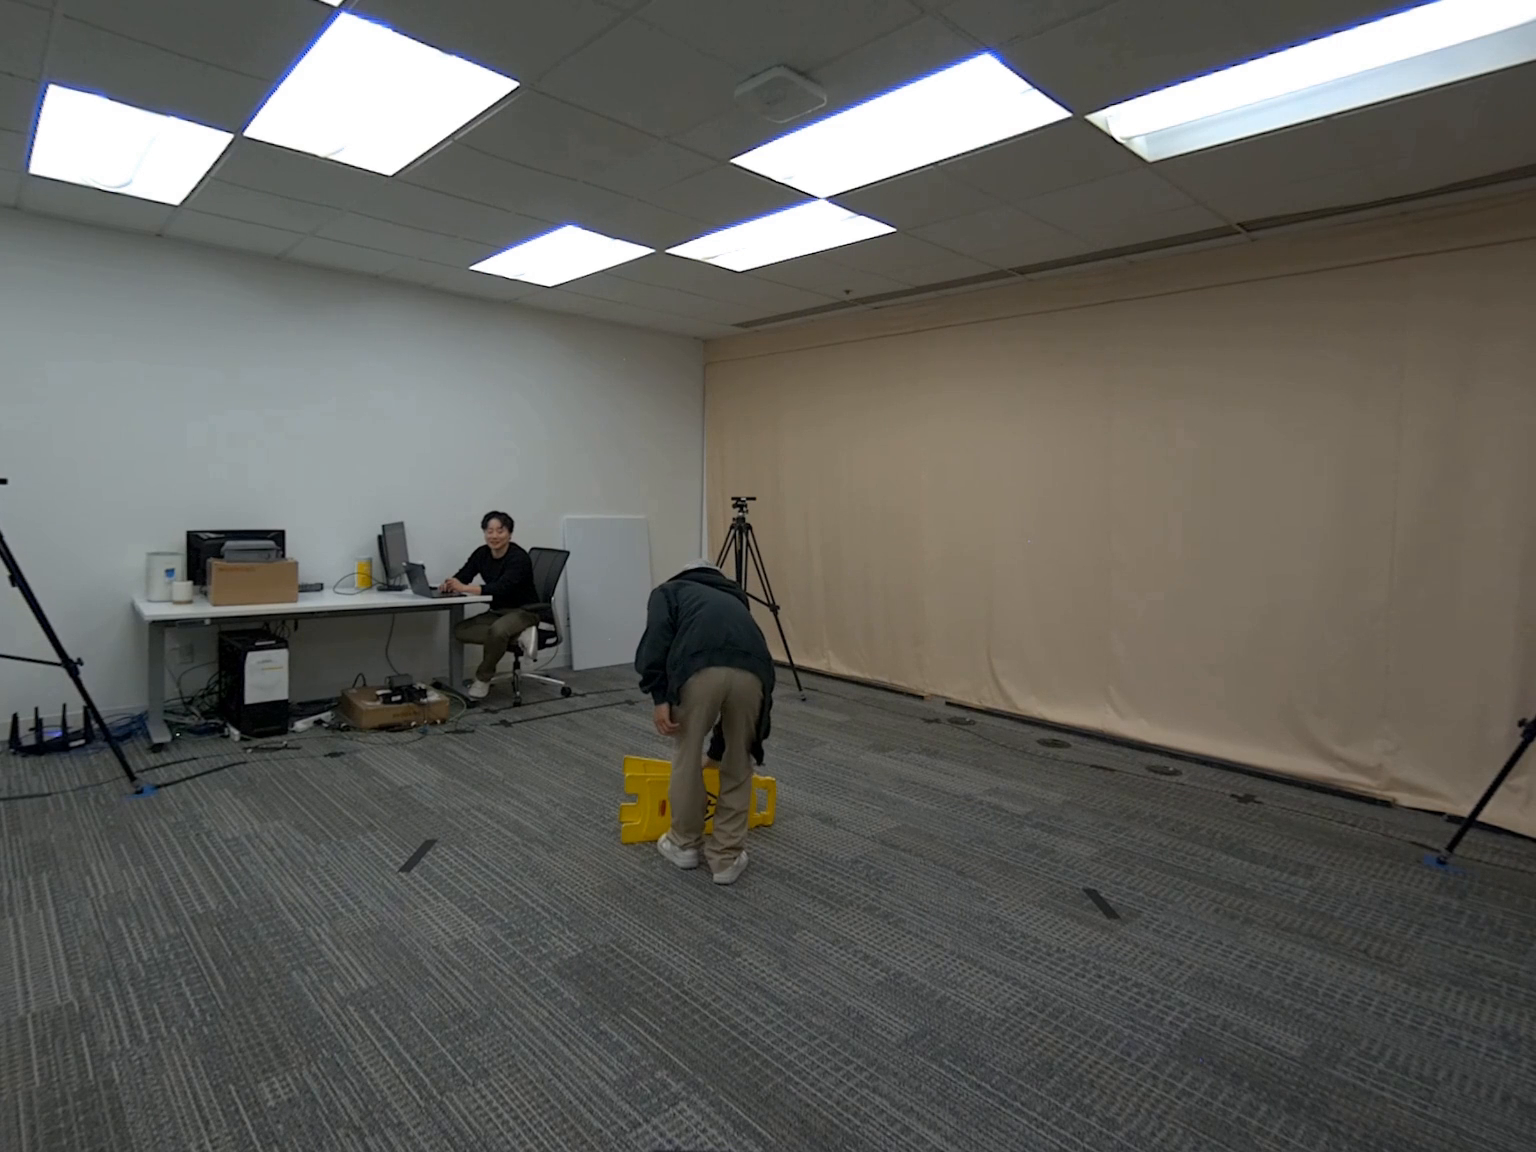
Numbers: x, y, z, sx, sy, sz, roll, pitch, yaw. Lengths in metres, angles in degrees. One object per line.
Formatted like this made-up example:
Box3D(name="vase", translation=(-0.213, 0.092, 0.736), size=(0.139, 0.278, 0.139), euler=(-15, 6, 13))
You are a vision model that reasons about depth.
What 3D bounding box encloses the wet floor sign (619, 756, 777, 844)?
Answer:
Box3D(name="wet floor sign", translation=(-0.299, 0.939, 3.552), size=(0.641, 0.282, 0.293), euler=(4, 3, -10))
